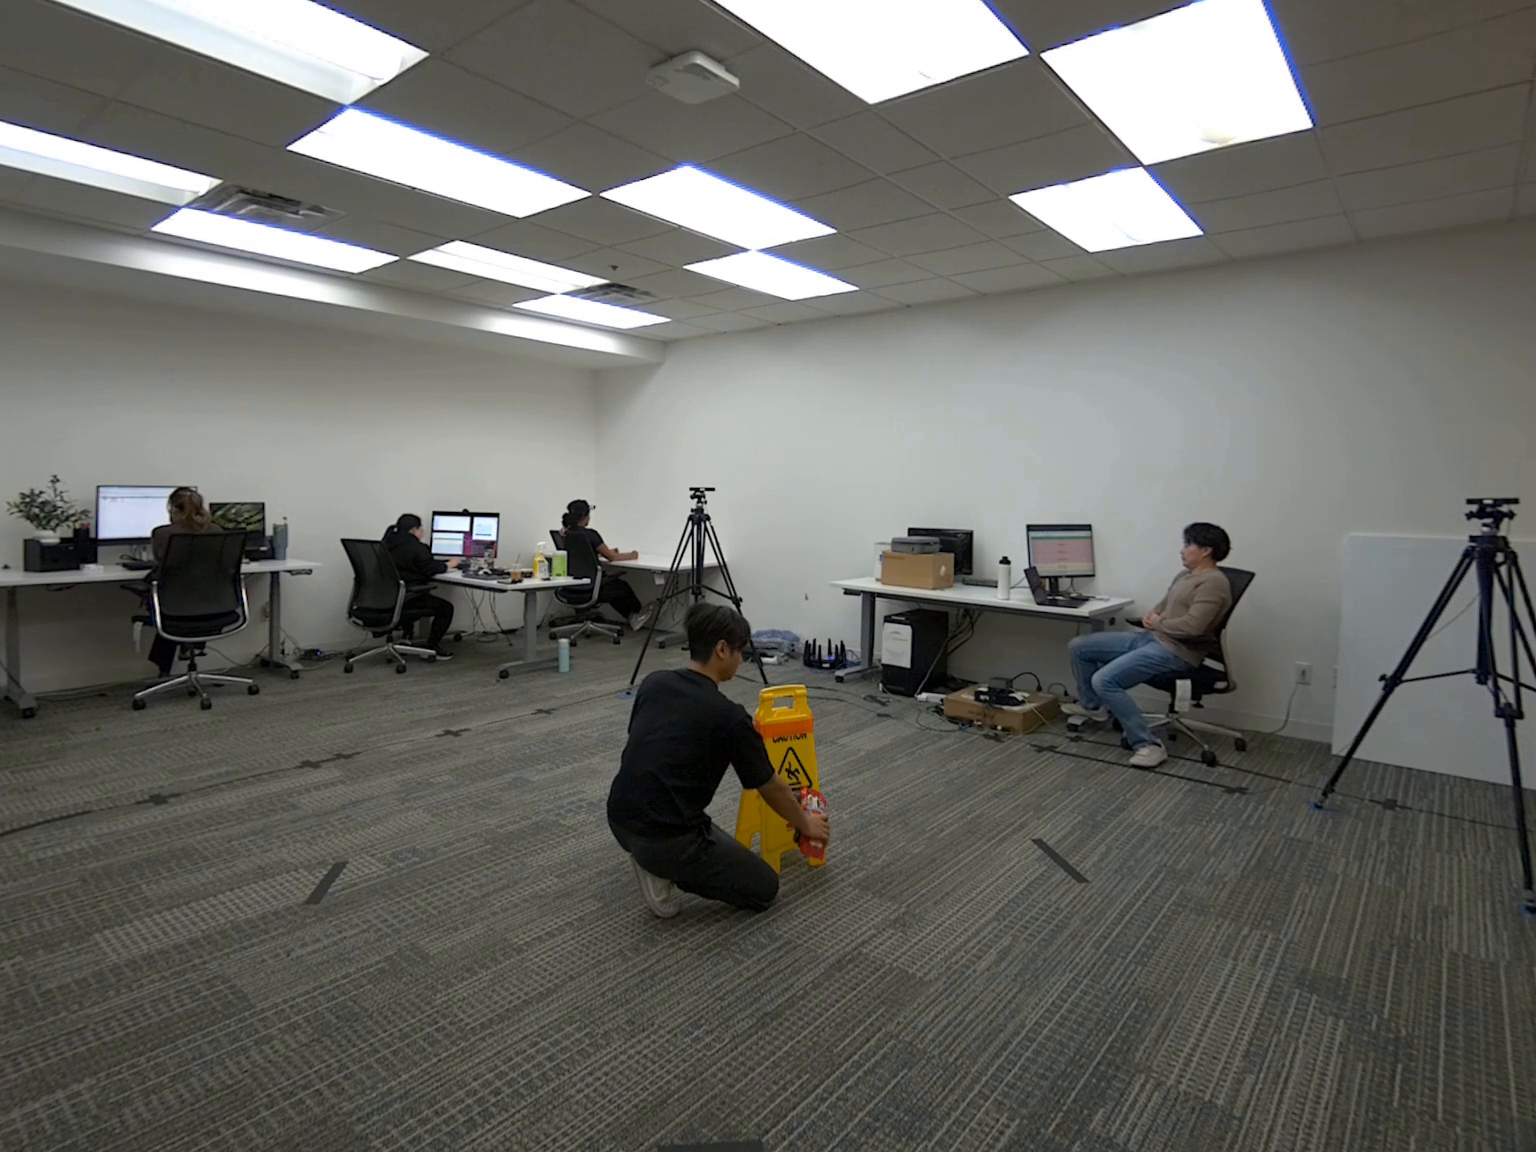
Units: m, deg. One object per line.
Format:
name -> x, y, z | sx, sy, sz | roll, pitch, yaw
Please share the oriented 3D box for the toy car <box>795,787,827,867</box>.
toy car -> 0.145, 0.873, 3.002 | 0.127, 0.263, 0.083 | 18, -50, -23
